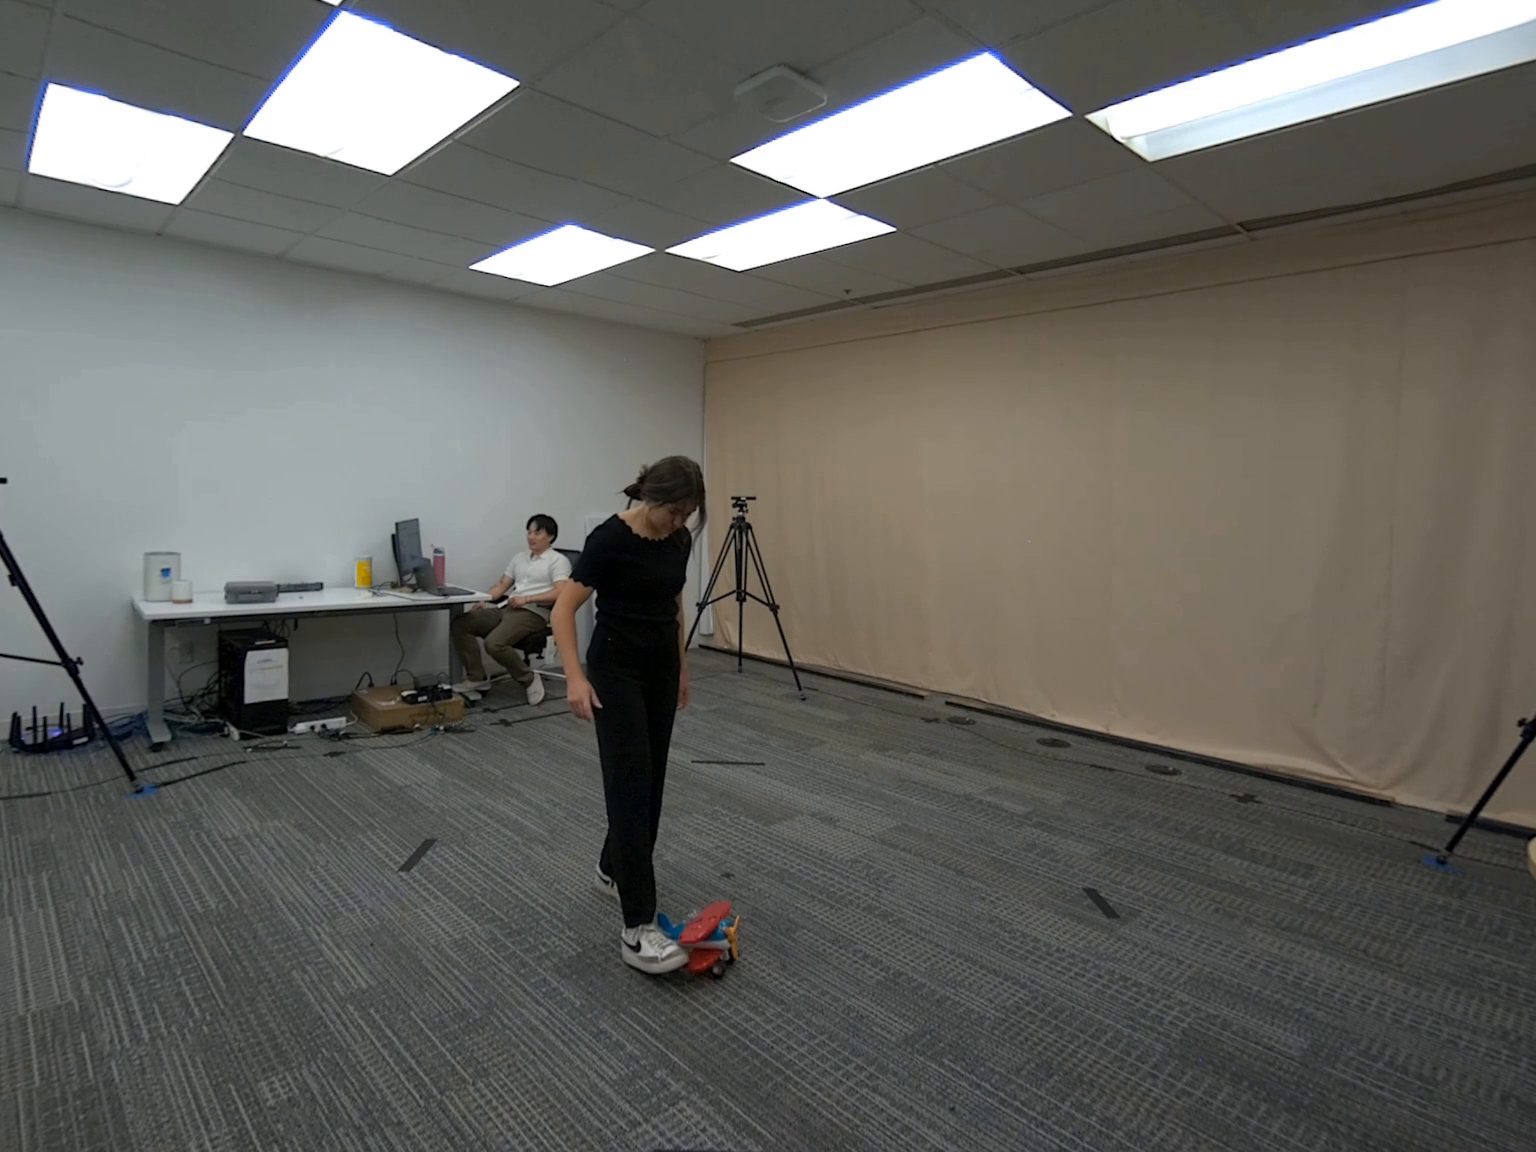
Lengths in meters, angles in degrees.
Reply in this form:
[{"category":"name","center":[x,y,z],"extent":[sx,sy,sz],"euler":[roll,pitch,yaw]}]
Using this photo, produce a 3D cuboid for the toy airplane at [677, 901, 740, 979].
[{"category":"toy airplane","center":[-0.232,1.086,2.482],"extent":[0.258,0.156,0.253],"euler":[2,5,-6]}]
